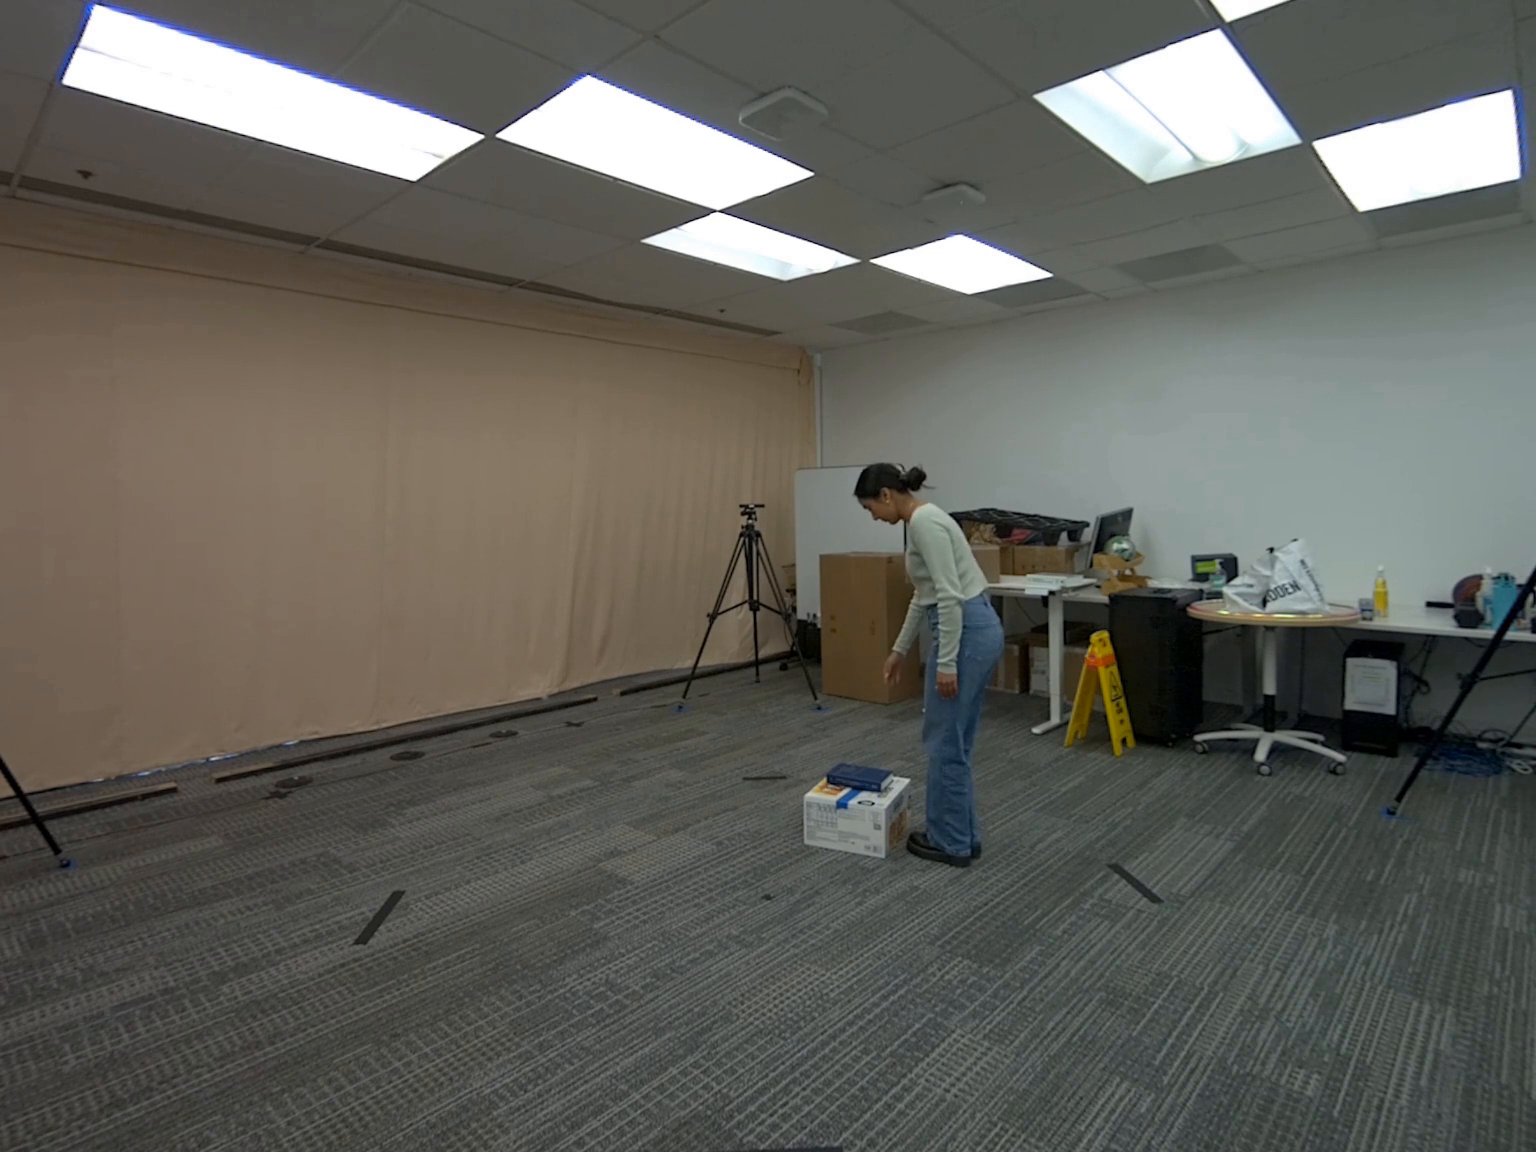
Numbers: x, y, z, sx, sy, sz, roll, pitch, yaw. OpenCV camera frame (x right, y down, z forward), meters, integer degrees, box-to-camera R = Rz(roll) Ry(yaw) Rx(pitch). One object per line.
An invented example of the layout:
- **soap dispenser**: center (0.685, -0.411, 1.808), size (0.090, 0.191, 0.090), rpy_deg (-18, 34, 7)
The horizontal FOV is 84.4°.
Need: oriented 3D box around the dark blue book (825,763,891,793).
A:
- **dark blue book**: center (0.393, 0.858, 3.602), size (0.252, 0.045, 0.159), rpy_deg (2, 5, 27)
